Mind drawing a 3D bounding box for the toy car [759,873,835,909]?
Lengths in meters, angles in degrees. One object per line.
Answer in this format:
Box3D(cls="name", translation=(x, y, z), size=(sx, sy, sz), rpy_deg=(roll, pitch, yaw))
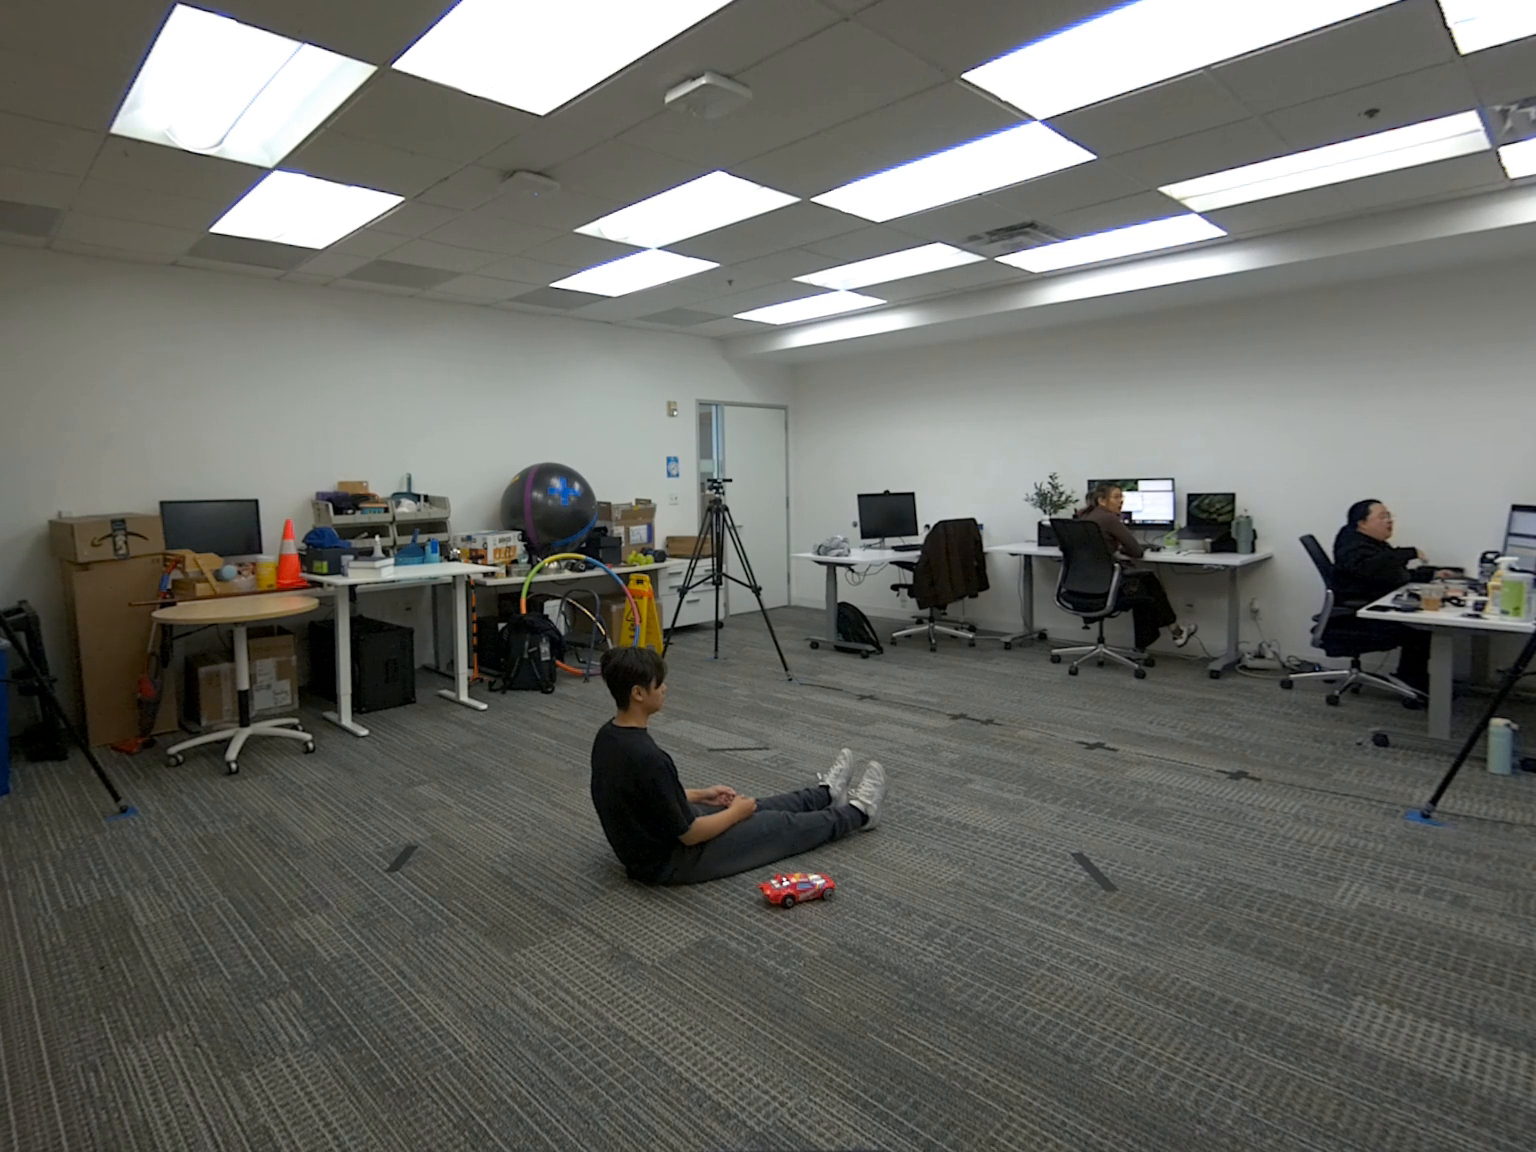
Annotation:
Box3D(cls="toy car", translation=(0.091, 1.035, 2.840), size=(0.249, 0.083, 0.133), rpy_deg=(8, 3, -21))
